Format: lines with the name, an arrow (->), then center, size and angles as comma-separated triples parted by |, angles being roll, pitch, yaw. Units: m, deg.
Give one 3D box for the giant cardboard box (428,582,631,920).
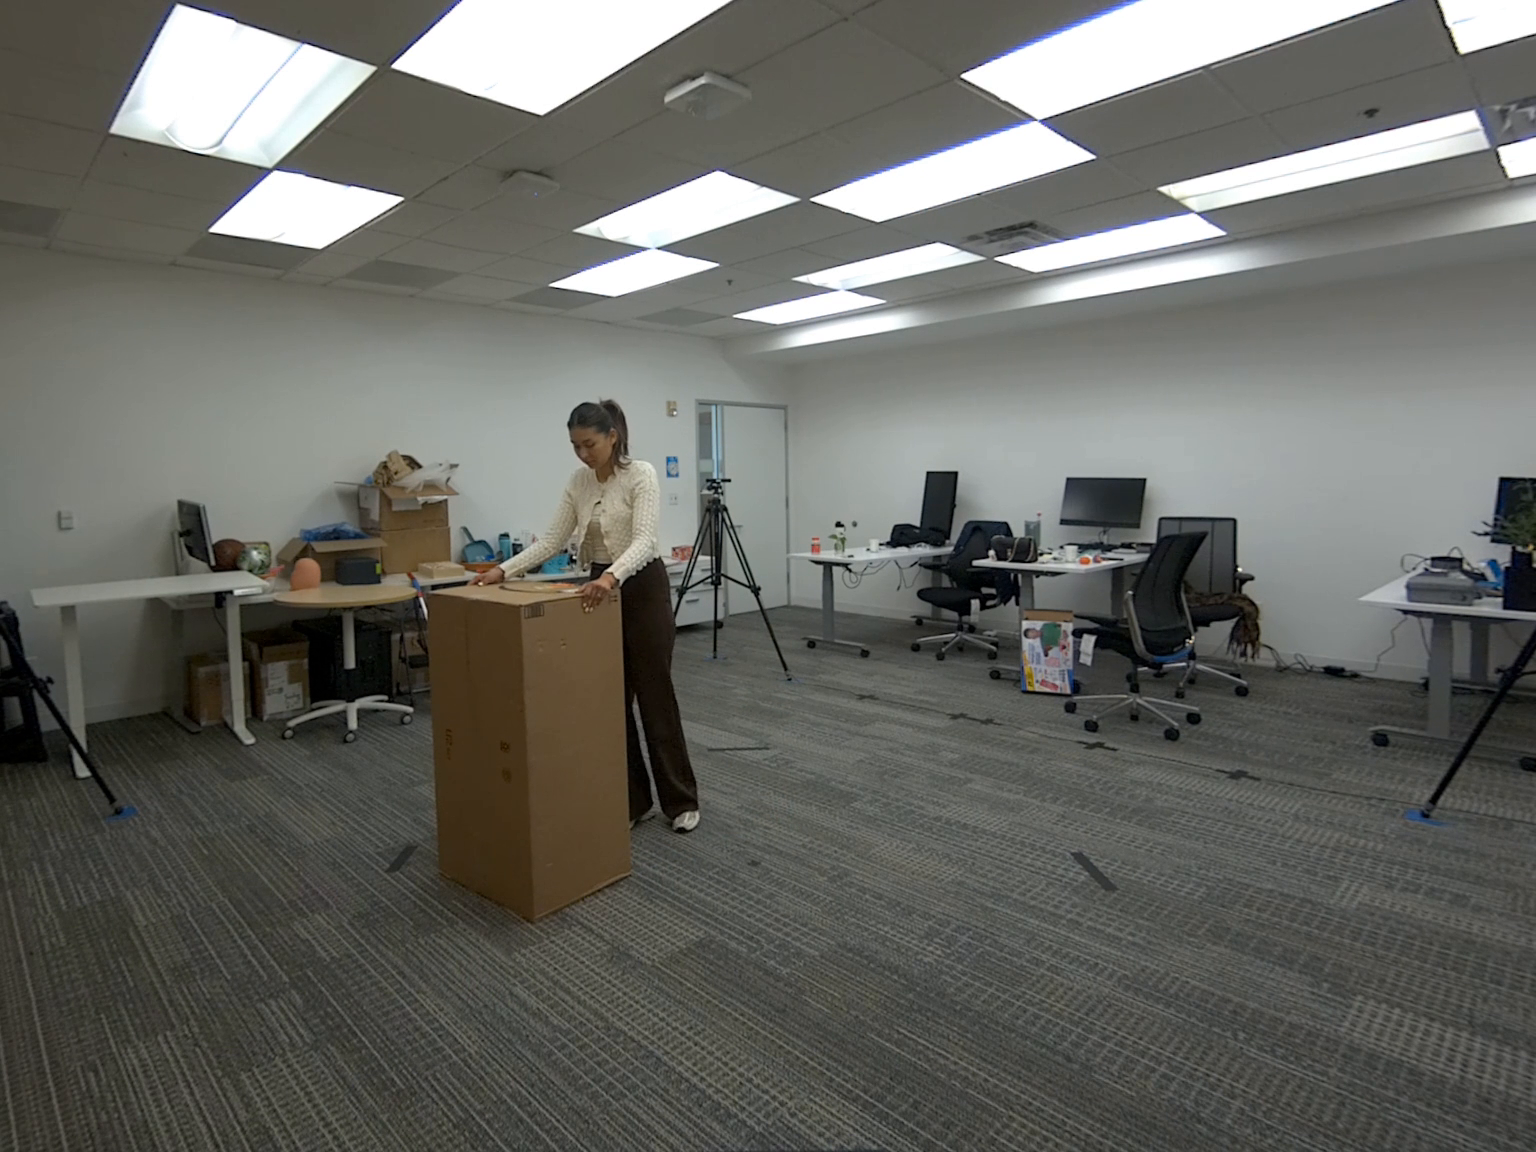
giant cardboard box -> -0.852, 0.558, 3.026 | 0.594, 1.022, 0.415 | 2, 5, 39
